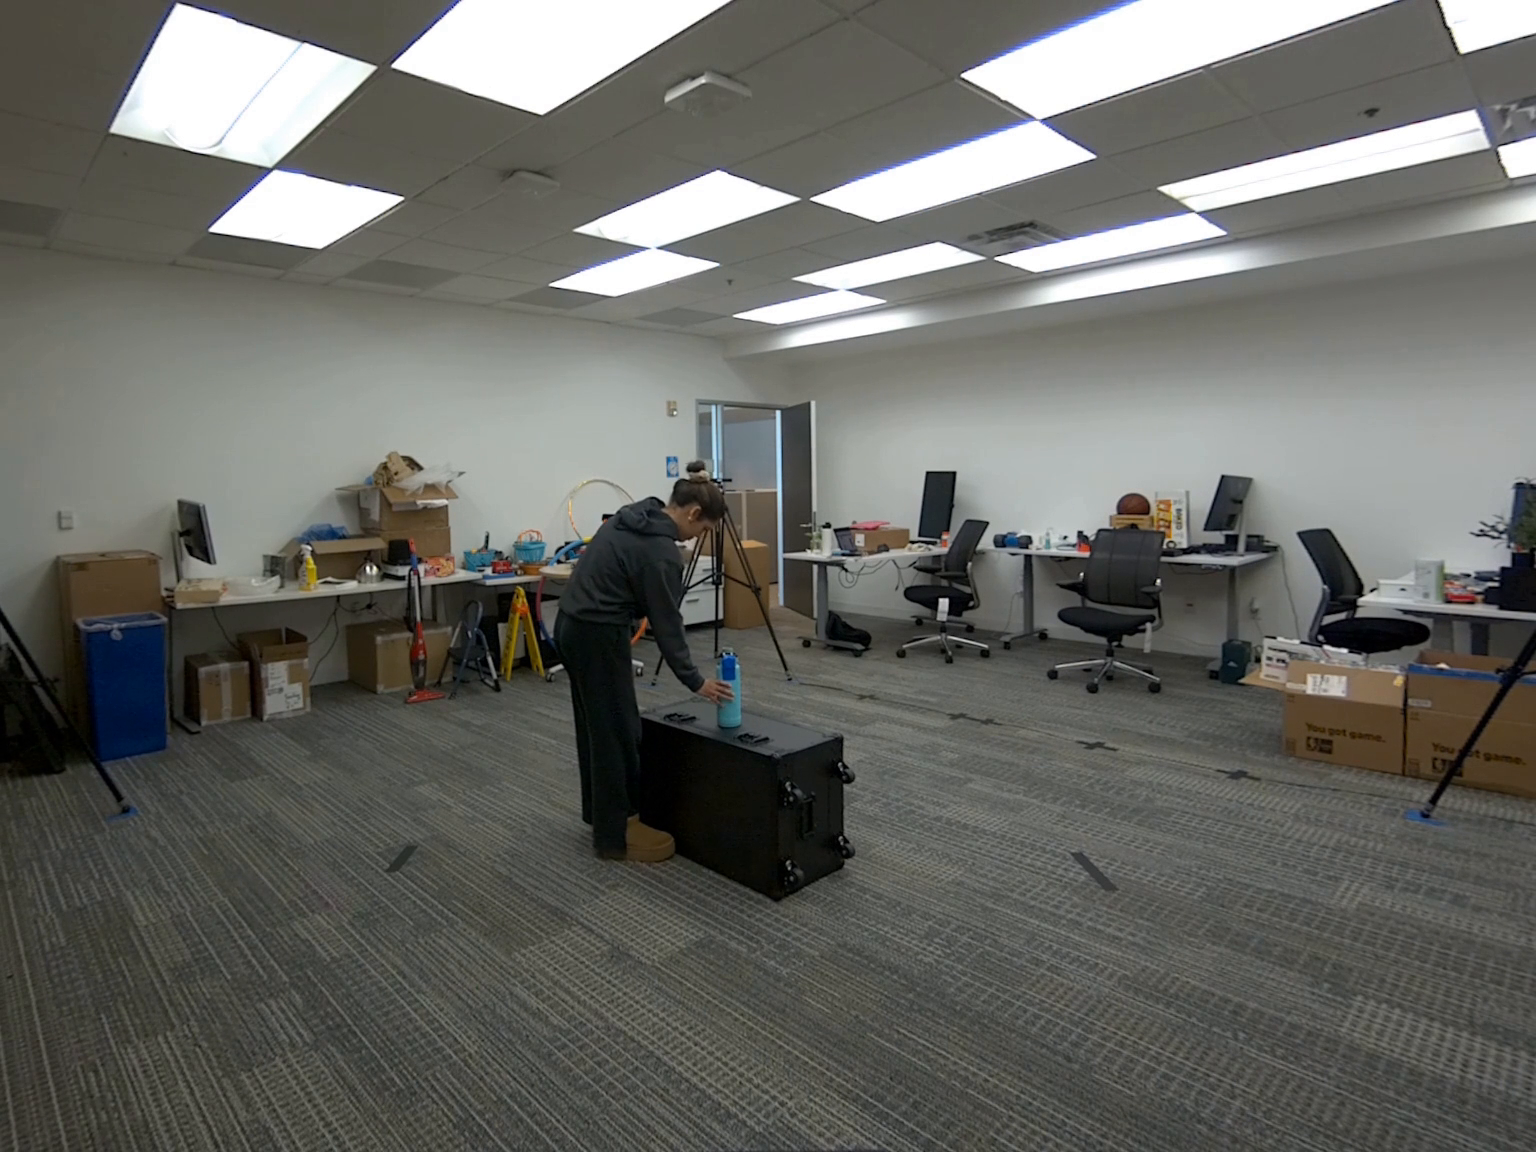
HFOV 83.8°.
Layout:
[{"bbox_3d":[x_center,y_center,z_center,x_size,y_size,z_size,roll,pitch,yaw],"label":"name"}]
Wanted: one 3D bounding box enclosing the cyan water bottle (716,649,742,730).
[{"bbox_3d":[-0.147,0.414,3.171,0.092,0.282,0.093,-1,5,-2],"label":"cyan water bottle"}]
